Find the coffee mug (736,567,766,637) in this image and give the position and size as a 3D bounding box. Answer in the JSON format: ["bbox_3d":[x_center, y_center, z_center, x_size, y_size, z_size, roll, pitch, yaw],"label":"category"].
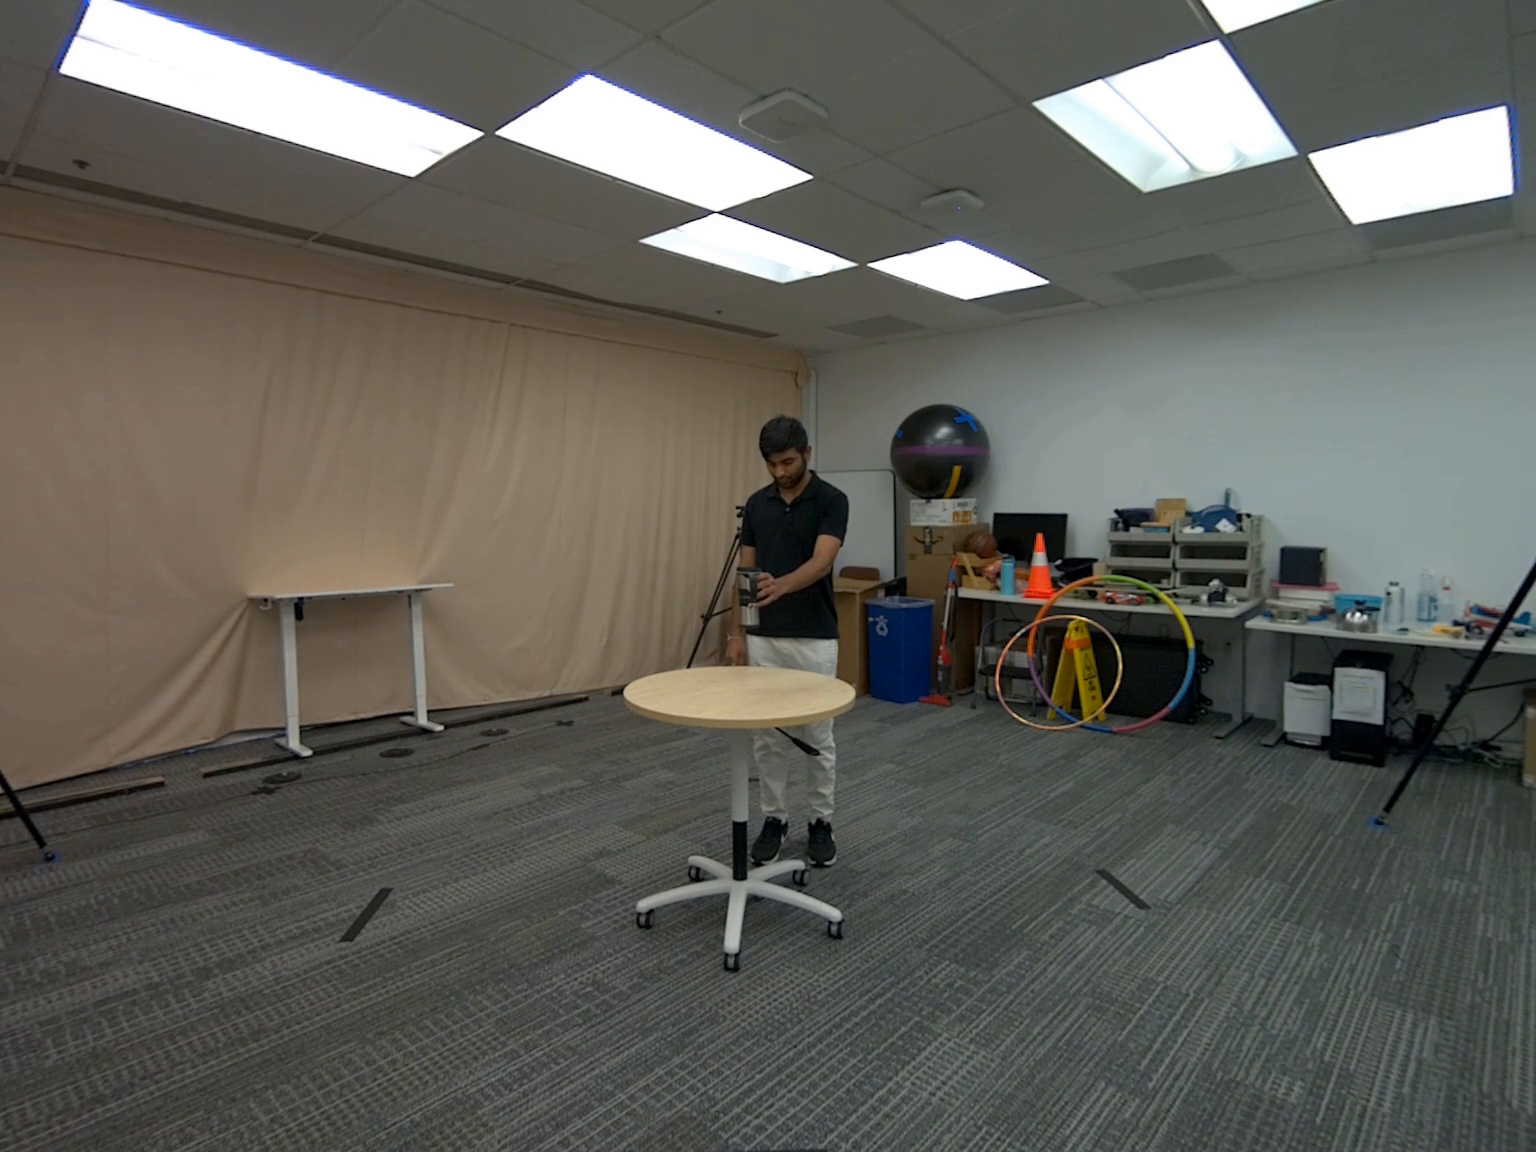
[{"bbox_3d":[-0.069,0.072,2.801,0.089,0.203,0.120,3,0,14],"label":"coffee mug"}]
